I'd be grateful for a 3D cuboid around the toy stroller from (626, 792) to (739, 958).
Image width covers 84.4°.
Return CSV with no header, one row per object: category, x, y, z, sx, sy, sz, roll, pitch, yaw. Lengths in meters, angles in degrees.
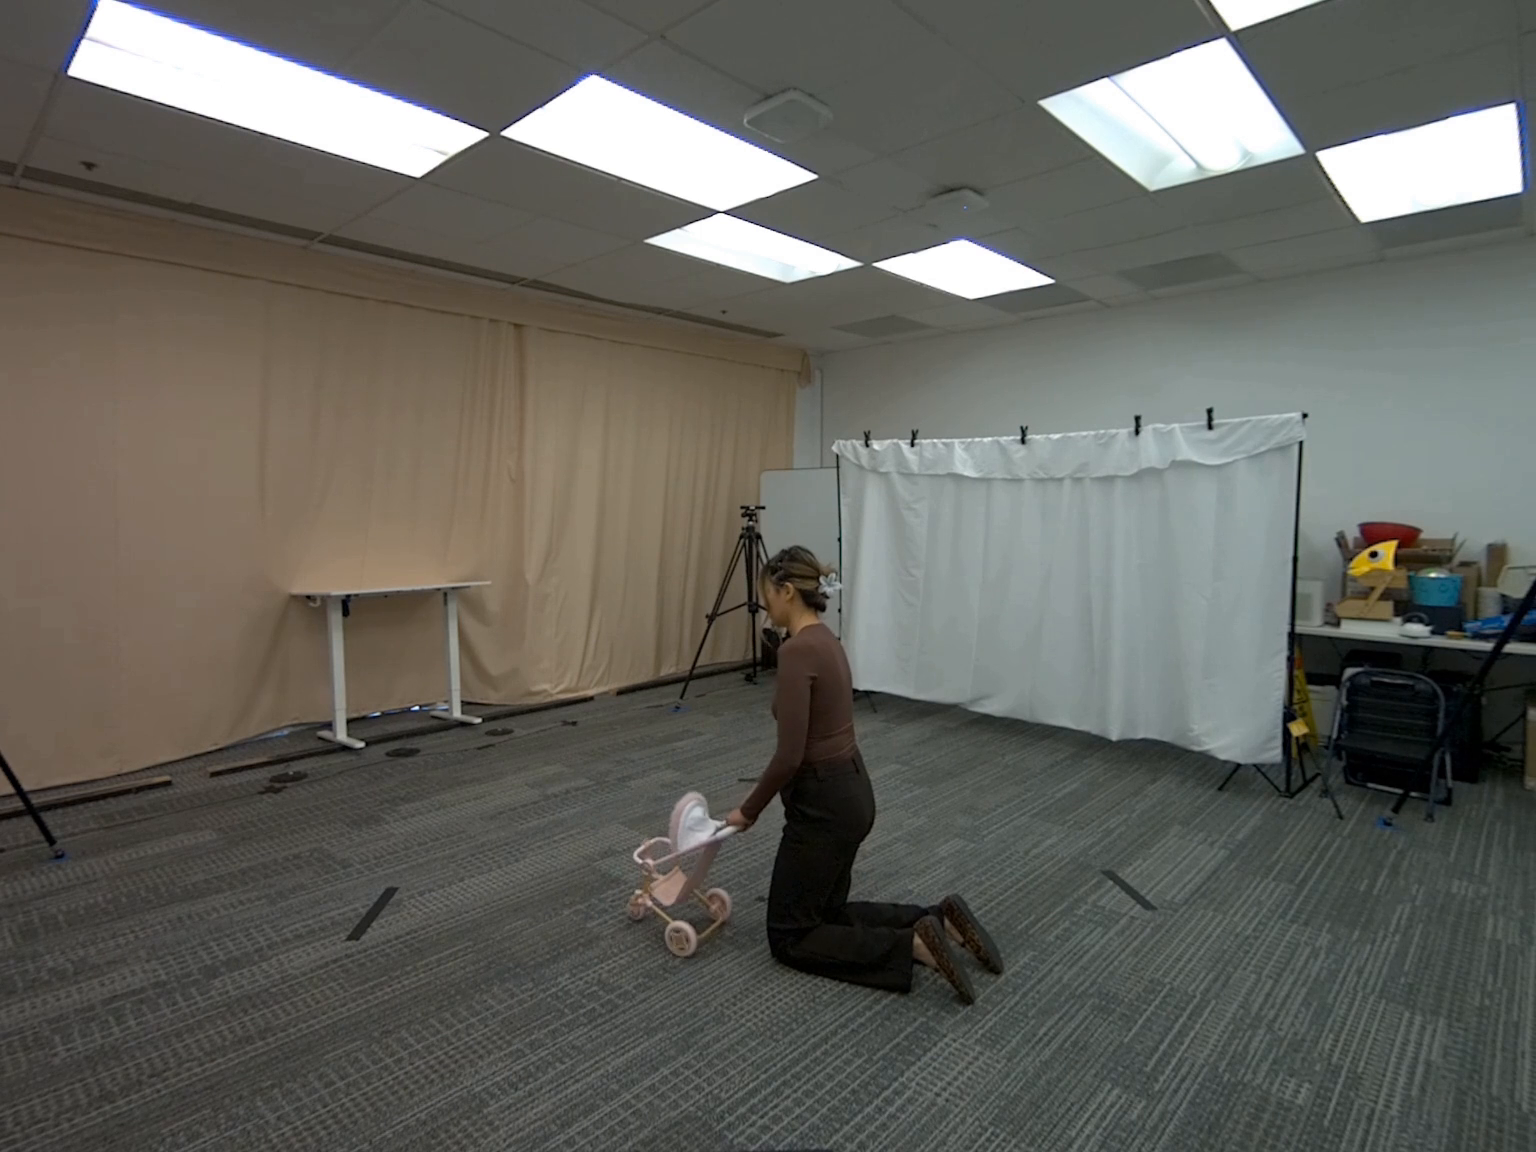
toy stroller,-0.273,0.944,2.746,0.352,0.533,0.274,20,12,28
